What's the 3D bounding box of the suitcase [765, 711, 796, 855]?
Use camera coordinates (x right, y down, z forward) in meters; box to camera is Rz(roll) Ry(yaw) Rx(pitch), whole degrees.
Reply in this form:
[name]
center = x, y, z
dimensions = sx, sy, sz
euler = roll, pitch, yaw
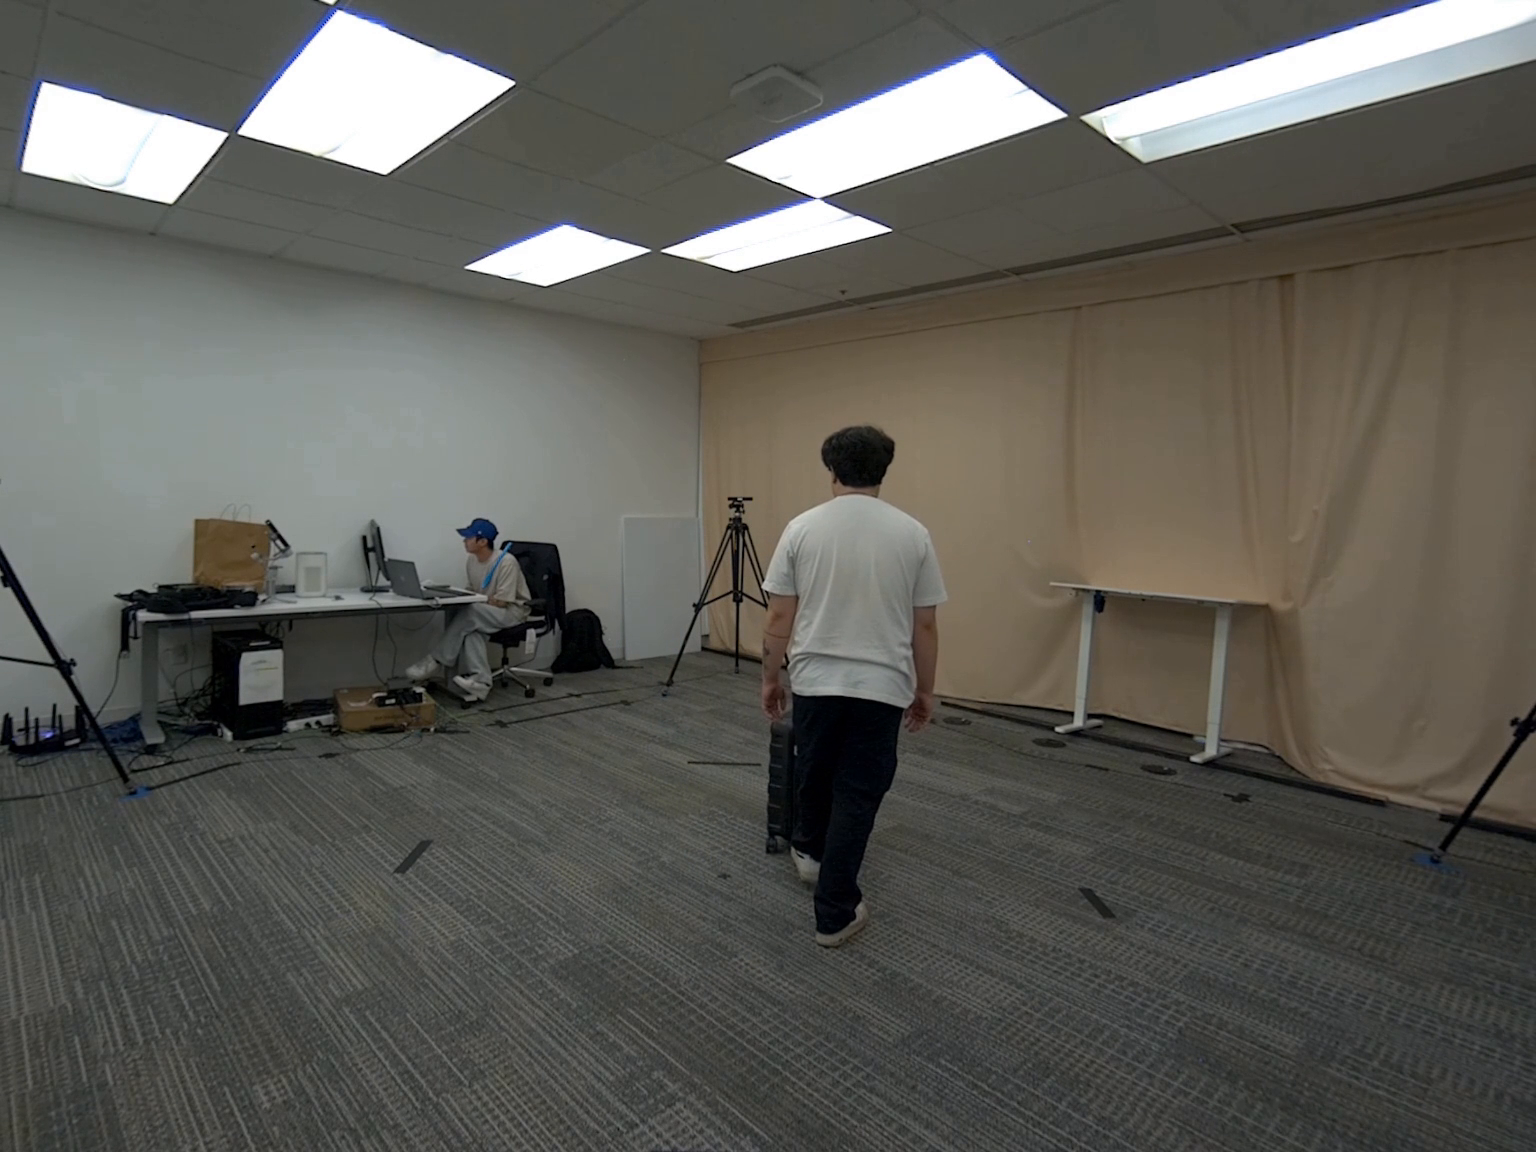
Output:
[suitcase]
center = 0.156, 0.615, 3.418
dimensions = 0.261, 0.978, 0.377
euler = -1, 0, 24
